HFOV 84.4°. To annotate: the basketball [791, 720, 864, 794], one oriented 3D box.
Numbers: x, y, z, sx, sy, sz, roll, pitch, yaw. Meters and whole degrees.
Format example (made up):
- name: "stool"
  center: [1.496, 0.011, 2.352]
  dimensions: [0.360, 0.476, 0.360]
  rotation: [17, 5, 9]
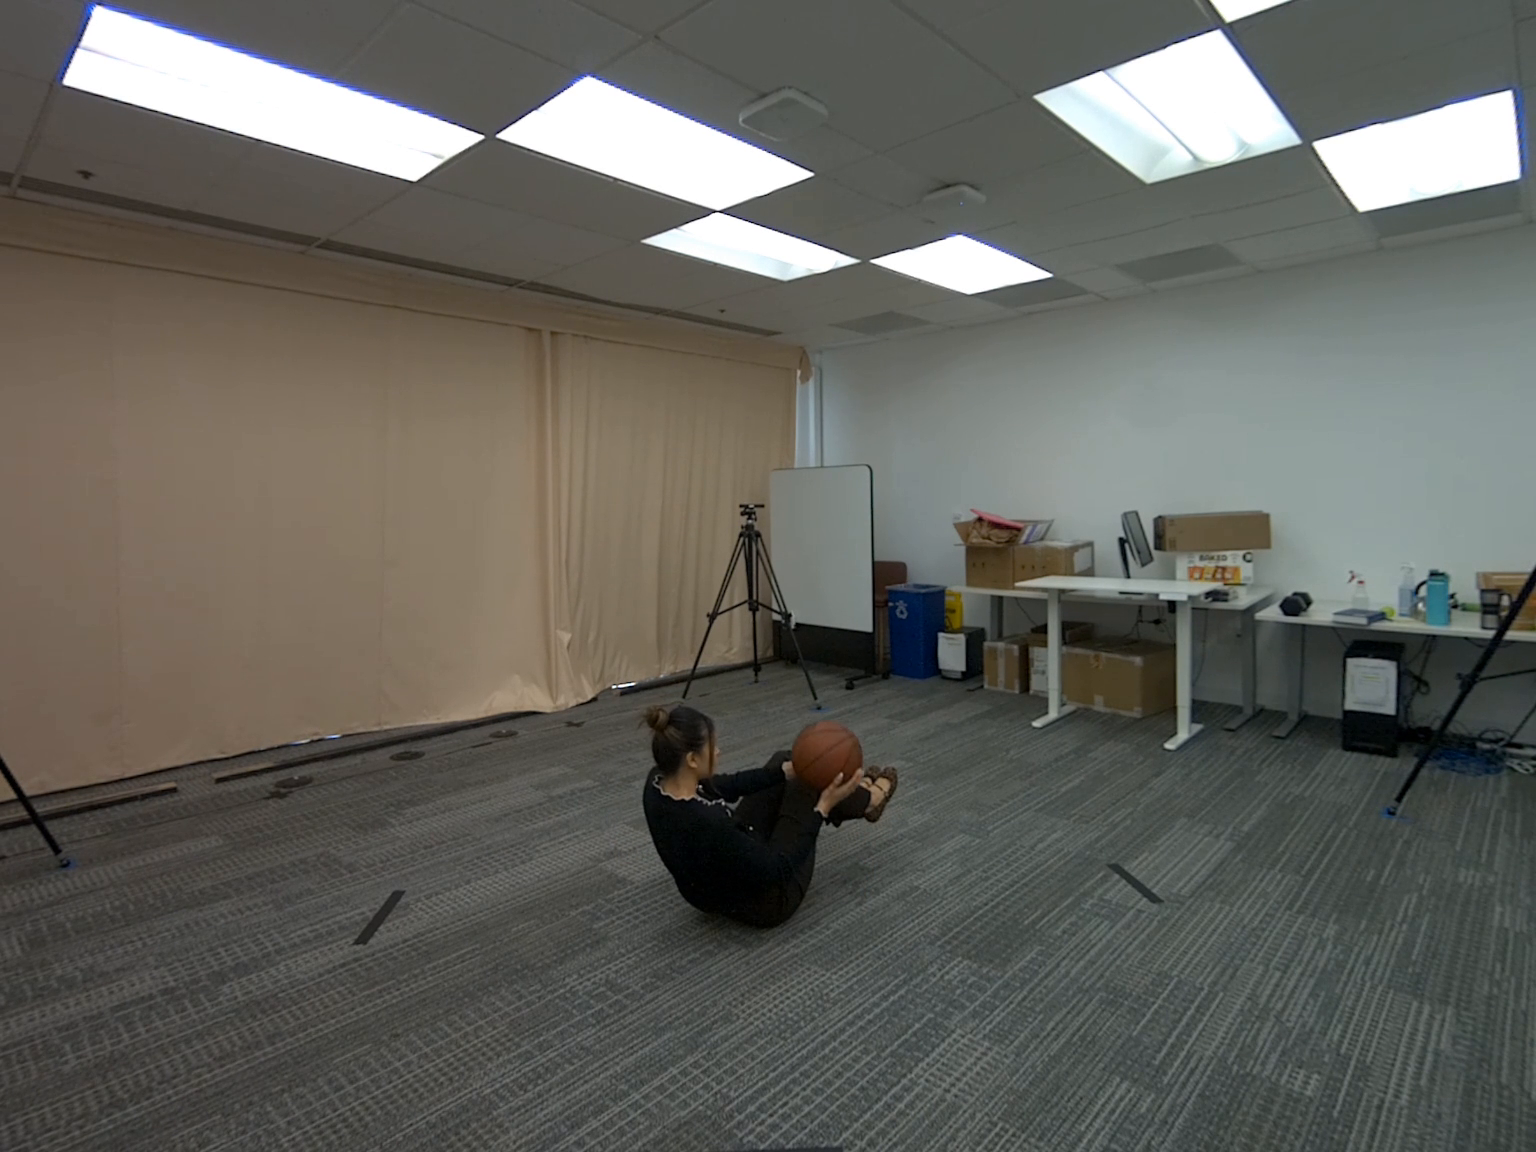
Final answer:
- name: "basketball"
  center: [0.188, 0.615, 2.766]
  dimensions: [0.236, 0.235, 0.237]
  rotation: [-1, 4, -2]
